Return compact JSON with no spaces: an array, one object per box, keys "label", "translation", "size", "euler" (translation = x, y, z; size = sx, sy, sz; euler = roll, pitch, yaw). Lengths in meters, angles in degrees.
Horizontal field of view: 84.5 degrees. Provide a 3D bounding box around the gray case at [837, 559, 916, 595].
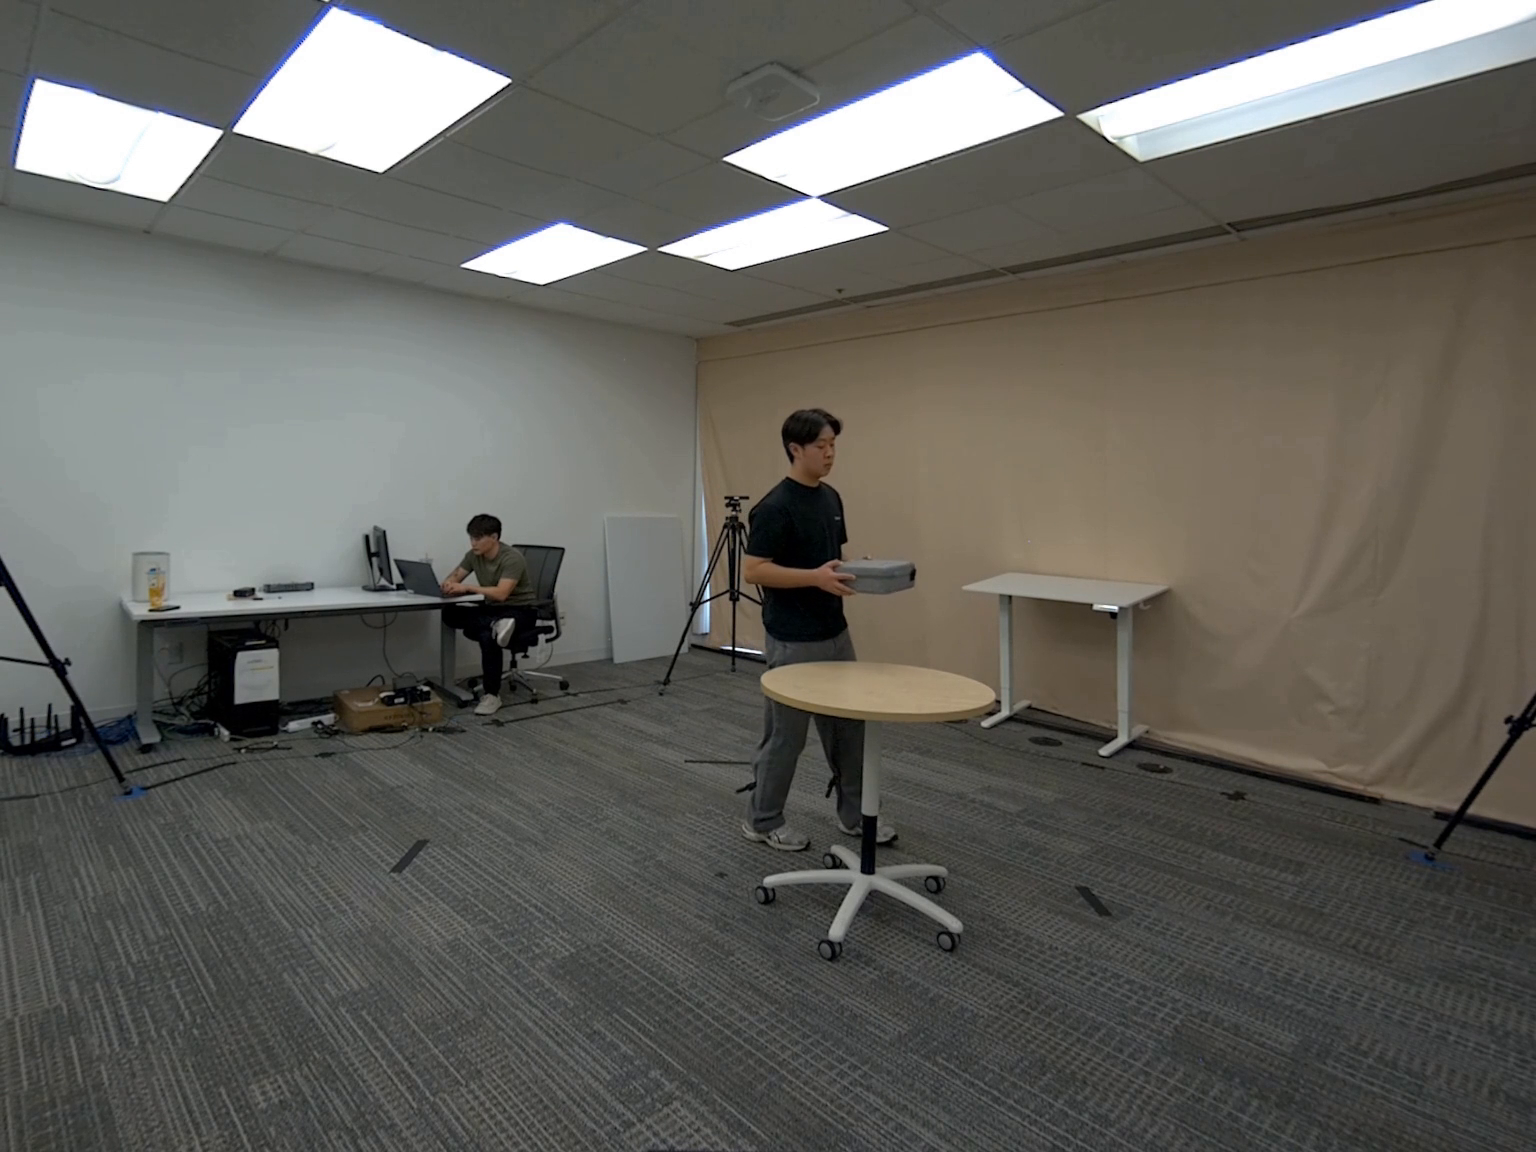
[{"label":"gray case","translation":[0.374,-0.003,3.188],"size":[0.294,0.102,0.258],"euler":[3,8,37]}]
